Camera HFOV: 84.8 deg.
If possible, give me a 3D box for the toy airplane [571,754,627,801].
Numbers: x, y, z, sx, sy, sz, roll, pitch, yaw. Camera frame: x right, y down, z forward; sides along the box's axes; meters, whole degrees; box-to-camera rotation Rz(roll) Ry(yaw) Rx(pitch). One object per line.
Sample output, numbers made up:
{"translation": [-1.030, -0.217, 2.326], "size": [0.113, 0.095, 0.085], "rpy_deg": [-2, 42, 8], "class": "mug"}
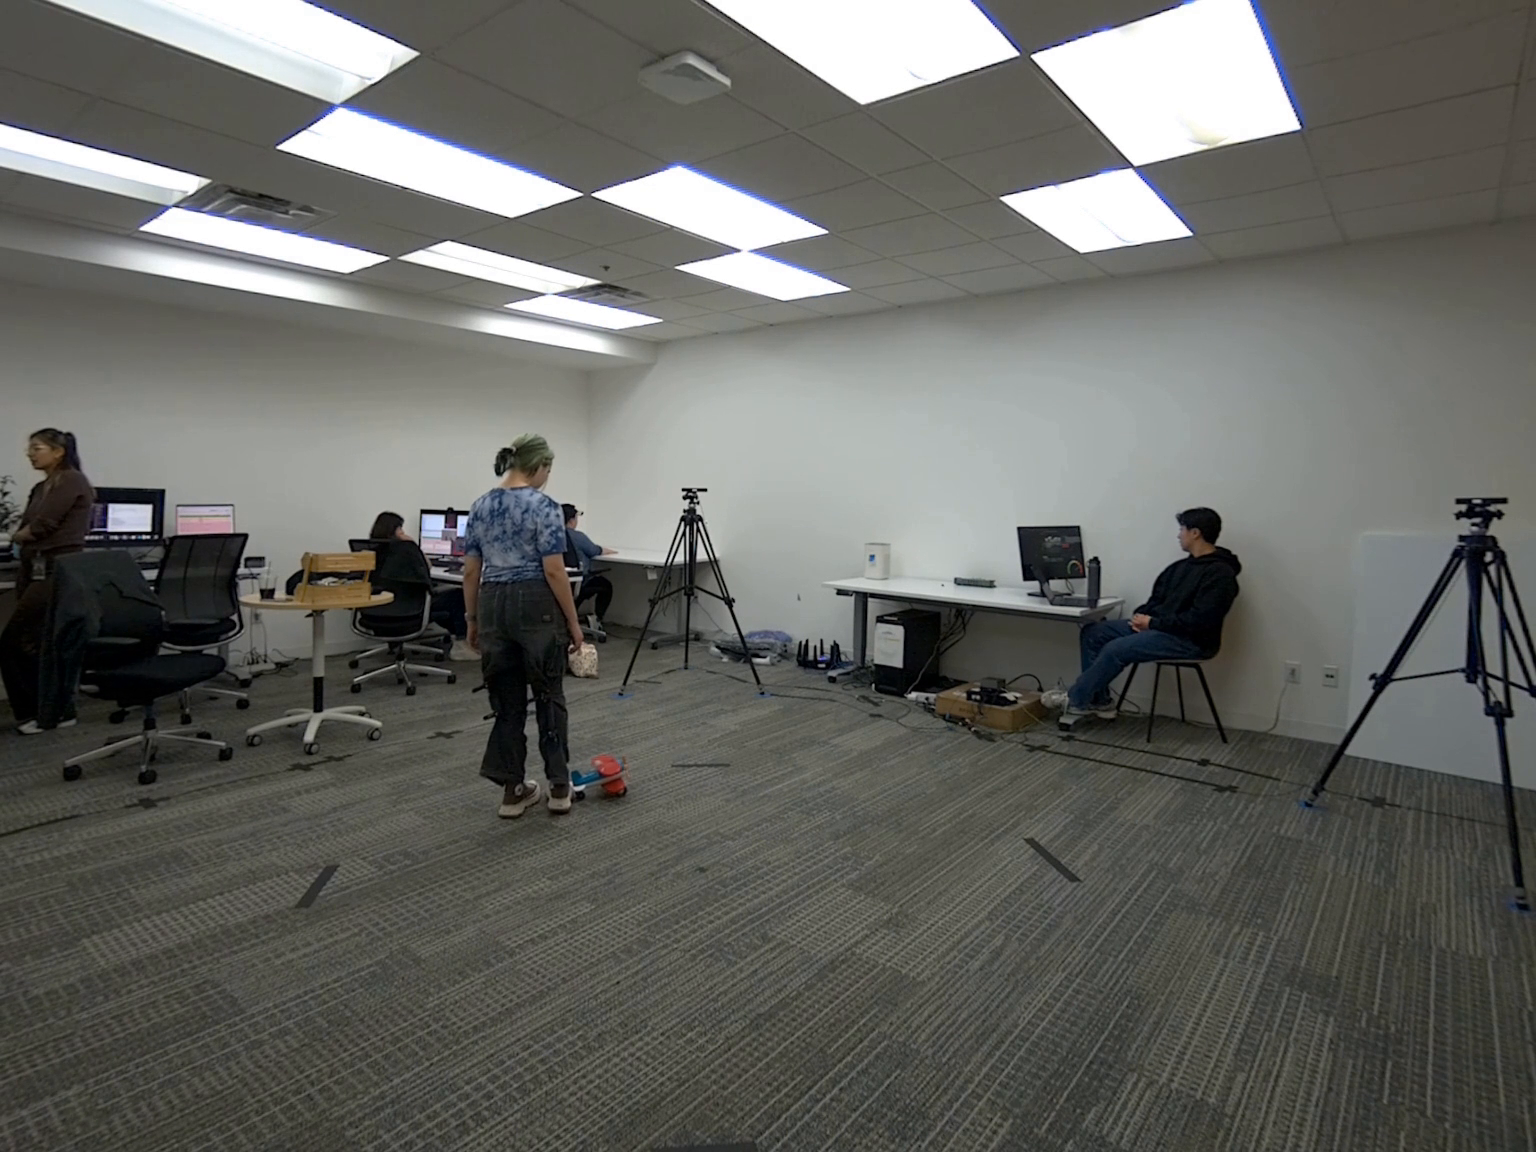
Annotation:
{"translation": [-0.764, 0.918, 3.833], "size": [0.259, 0.156, 0.251], "rpy_deg": [5, 5, 37], "class": "toy airplane"}
